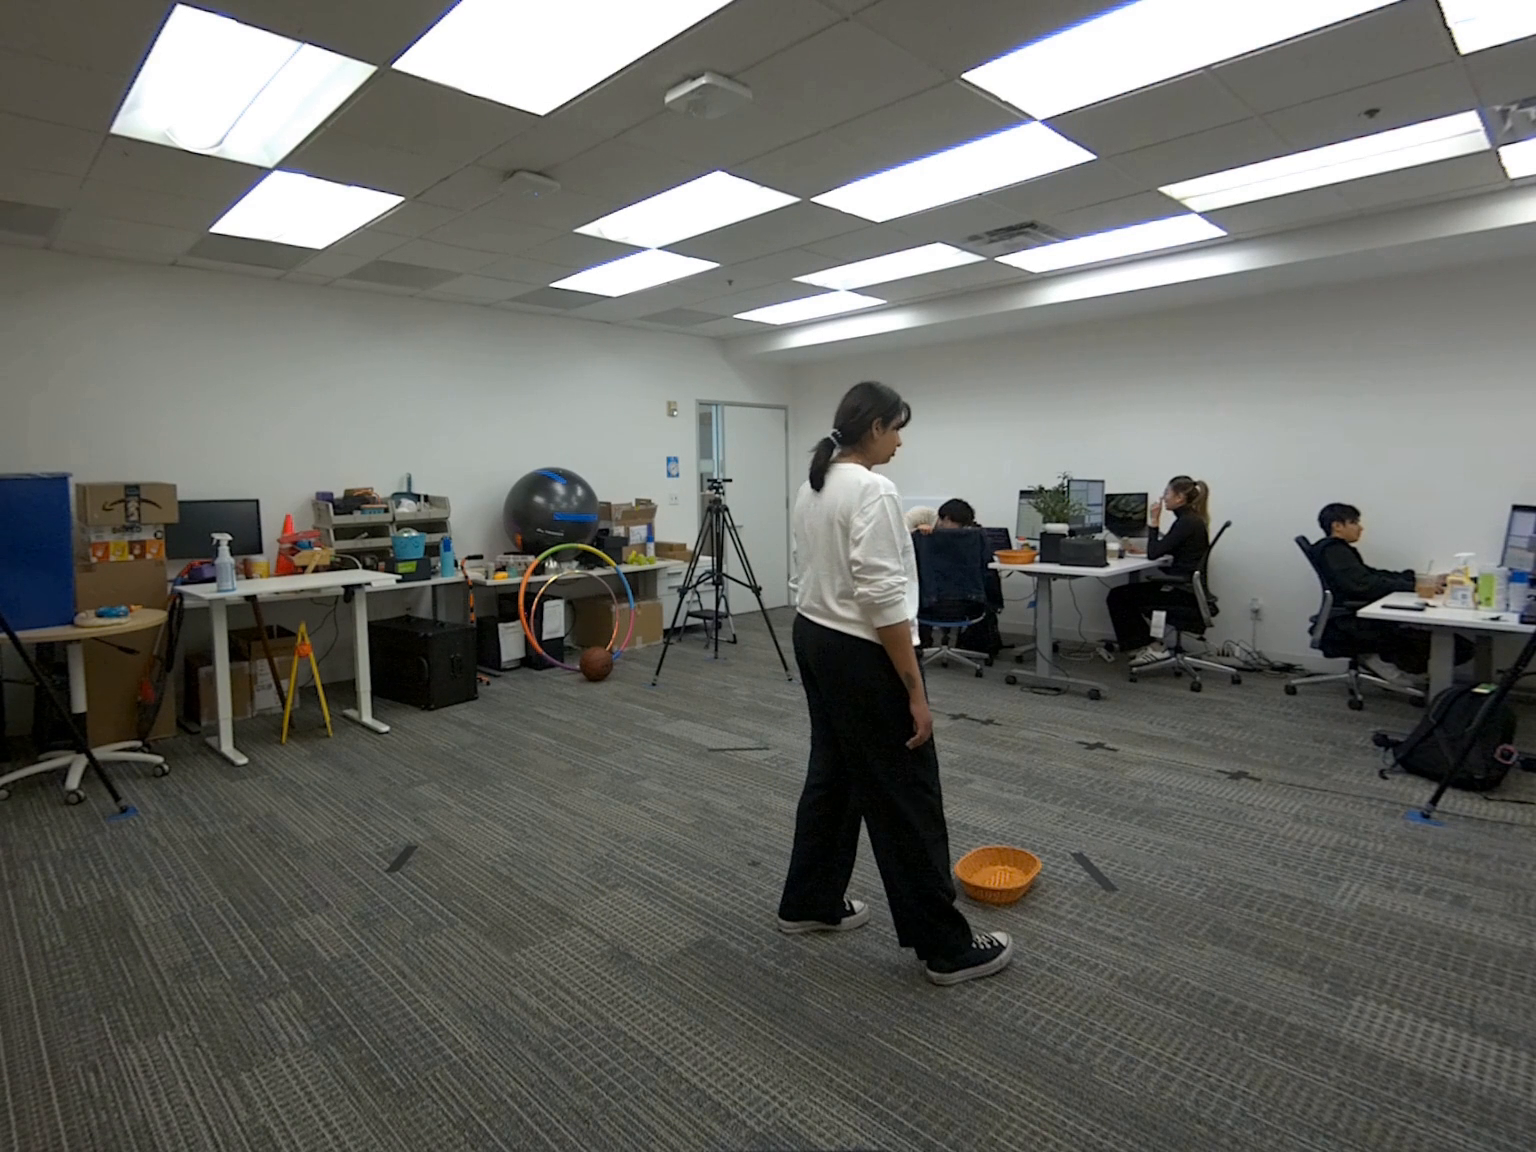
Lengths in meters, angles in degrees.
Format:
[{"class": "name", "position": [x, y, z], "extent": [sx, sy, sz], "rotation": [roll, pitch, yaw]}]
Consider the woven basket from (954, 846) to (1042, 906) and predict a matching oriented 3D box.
[{"class": "woven basket", "position": [0.781, 1.012, 2.909], "extent": [0.260, 0.073, 0.341], "rotation": [3, 8, 41]}]
